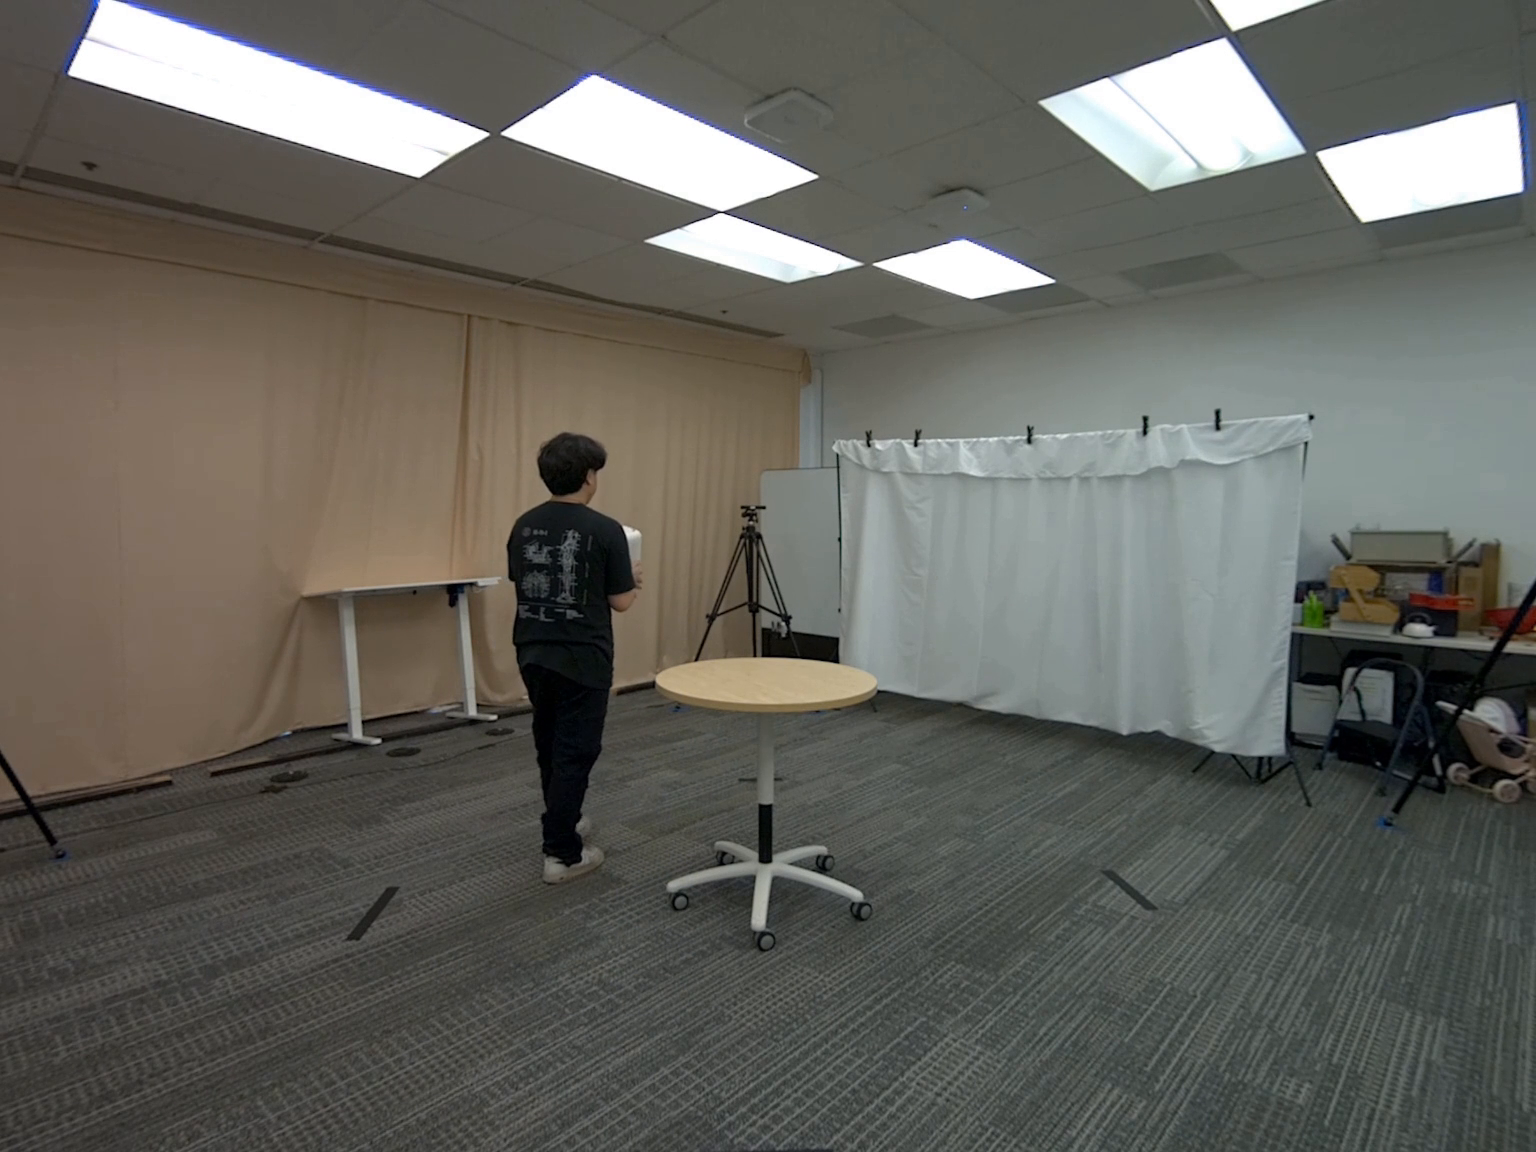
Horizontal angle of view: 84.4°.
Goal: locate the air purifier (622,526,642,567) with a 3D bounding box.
[{"bbox_3d":[-0.623,-0.065,3.457,0.176,0.263,0.168,15,19,30],"label":"air purifier"}]
